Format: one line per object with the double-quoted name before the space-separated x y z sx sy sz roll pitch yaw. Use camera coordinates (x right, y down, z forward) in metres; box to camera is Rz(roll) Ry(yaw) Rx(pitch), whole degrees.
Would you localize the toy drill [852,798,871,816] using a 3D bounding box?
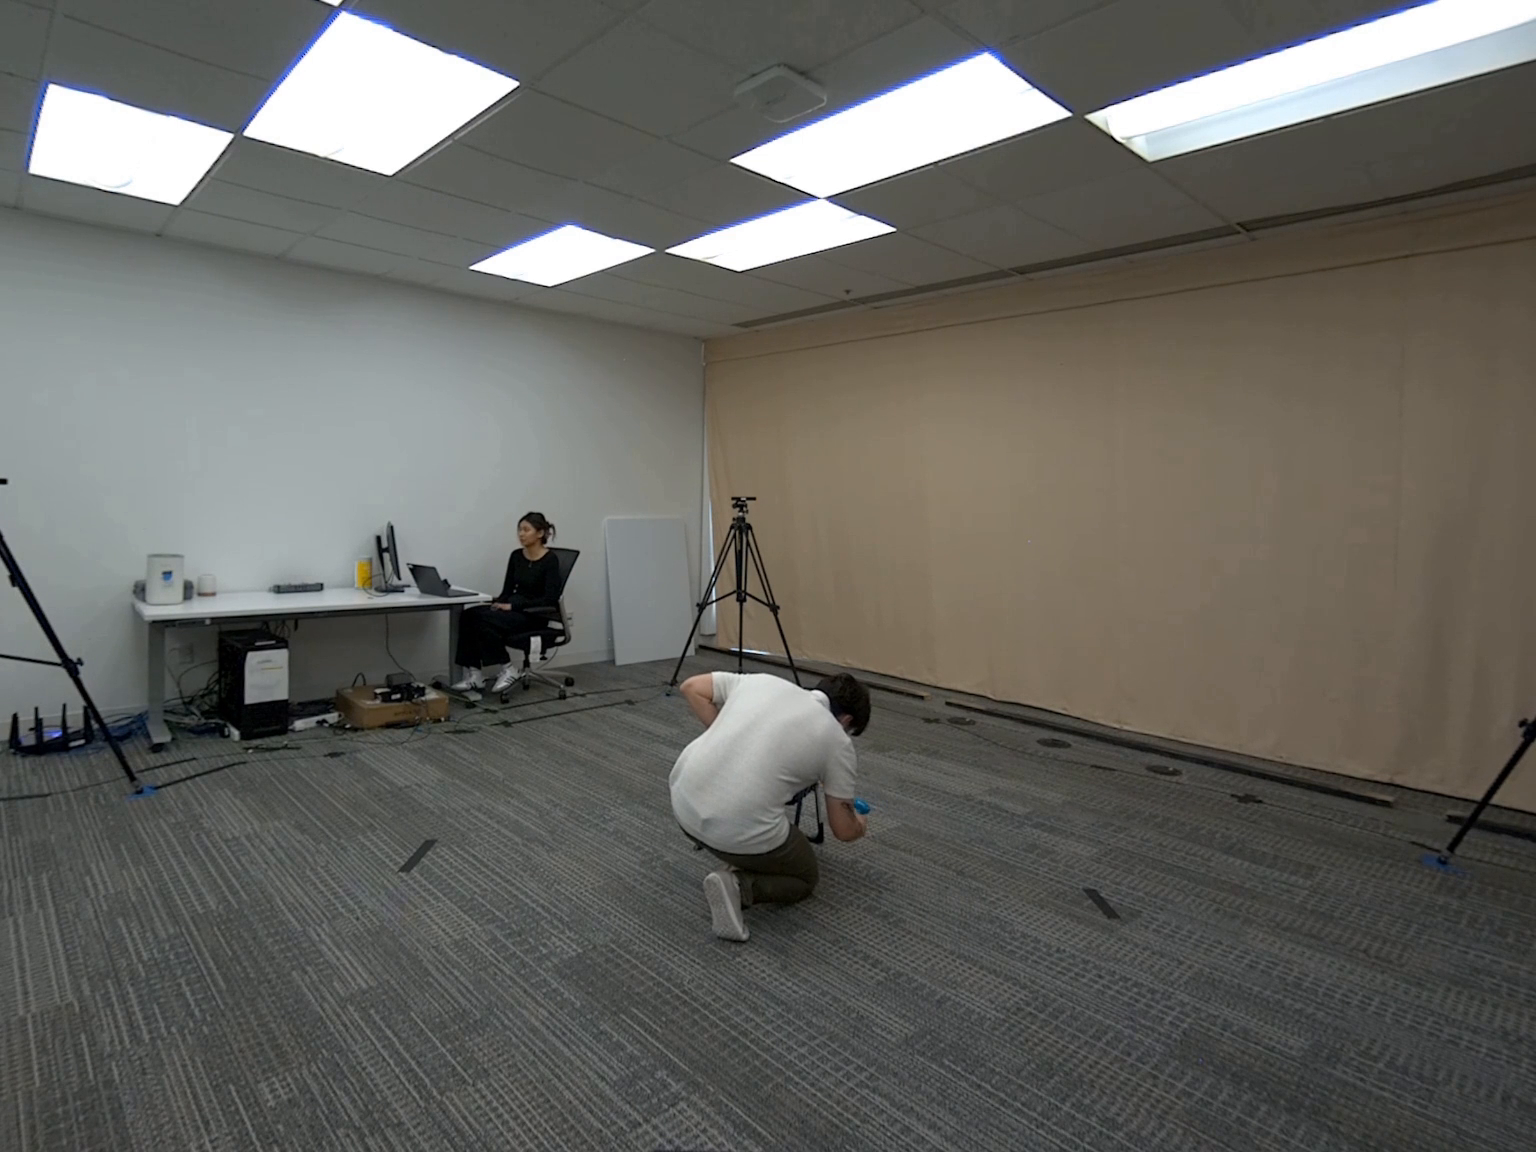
"toy drill" 0.289 0.906 3.187 0.174 0.060 0.146 3 34 39
